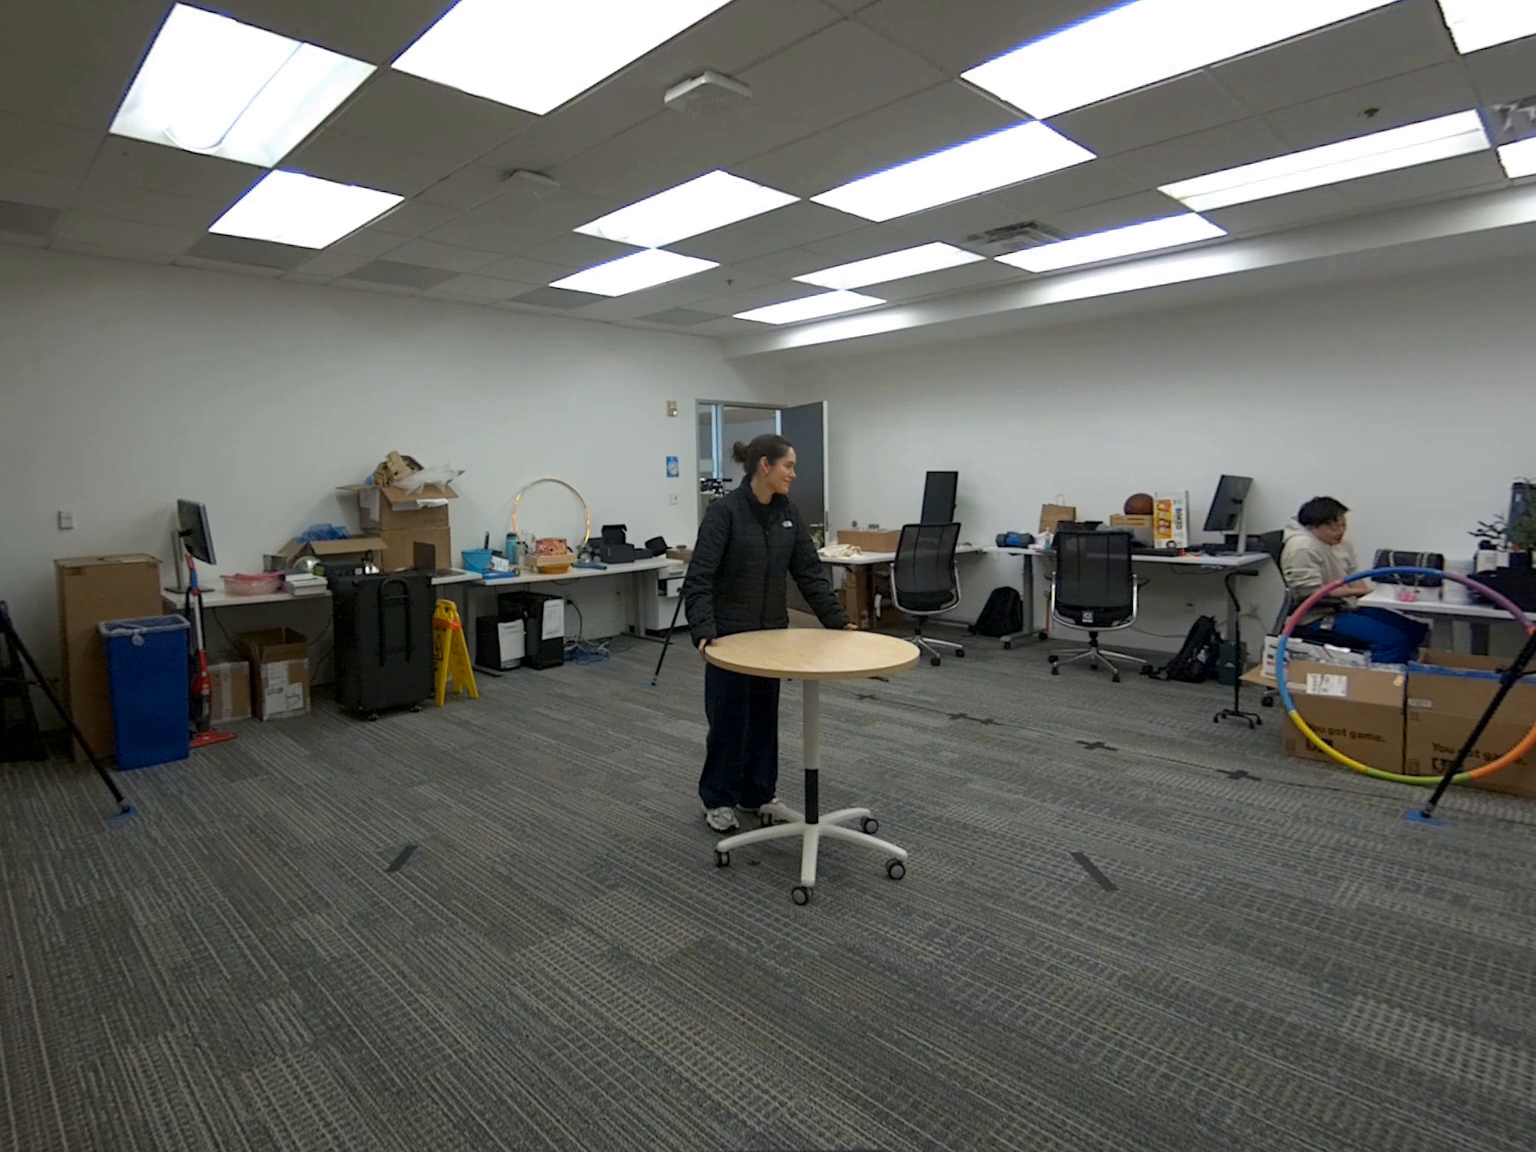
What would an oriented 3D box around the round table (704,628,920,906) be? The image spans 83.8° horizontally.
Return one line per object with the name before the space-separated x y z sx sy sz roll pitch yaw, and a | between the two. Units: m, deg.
round table | 0.156 0.645 3.130 0.784 0.783 0.789 0 5 -2
